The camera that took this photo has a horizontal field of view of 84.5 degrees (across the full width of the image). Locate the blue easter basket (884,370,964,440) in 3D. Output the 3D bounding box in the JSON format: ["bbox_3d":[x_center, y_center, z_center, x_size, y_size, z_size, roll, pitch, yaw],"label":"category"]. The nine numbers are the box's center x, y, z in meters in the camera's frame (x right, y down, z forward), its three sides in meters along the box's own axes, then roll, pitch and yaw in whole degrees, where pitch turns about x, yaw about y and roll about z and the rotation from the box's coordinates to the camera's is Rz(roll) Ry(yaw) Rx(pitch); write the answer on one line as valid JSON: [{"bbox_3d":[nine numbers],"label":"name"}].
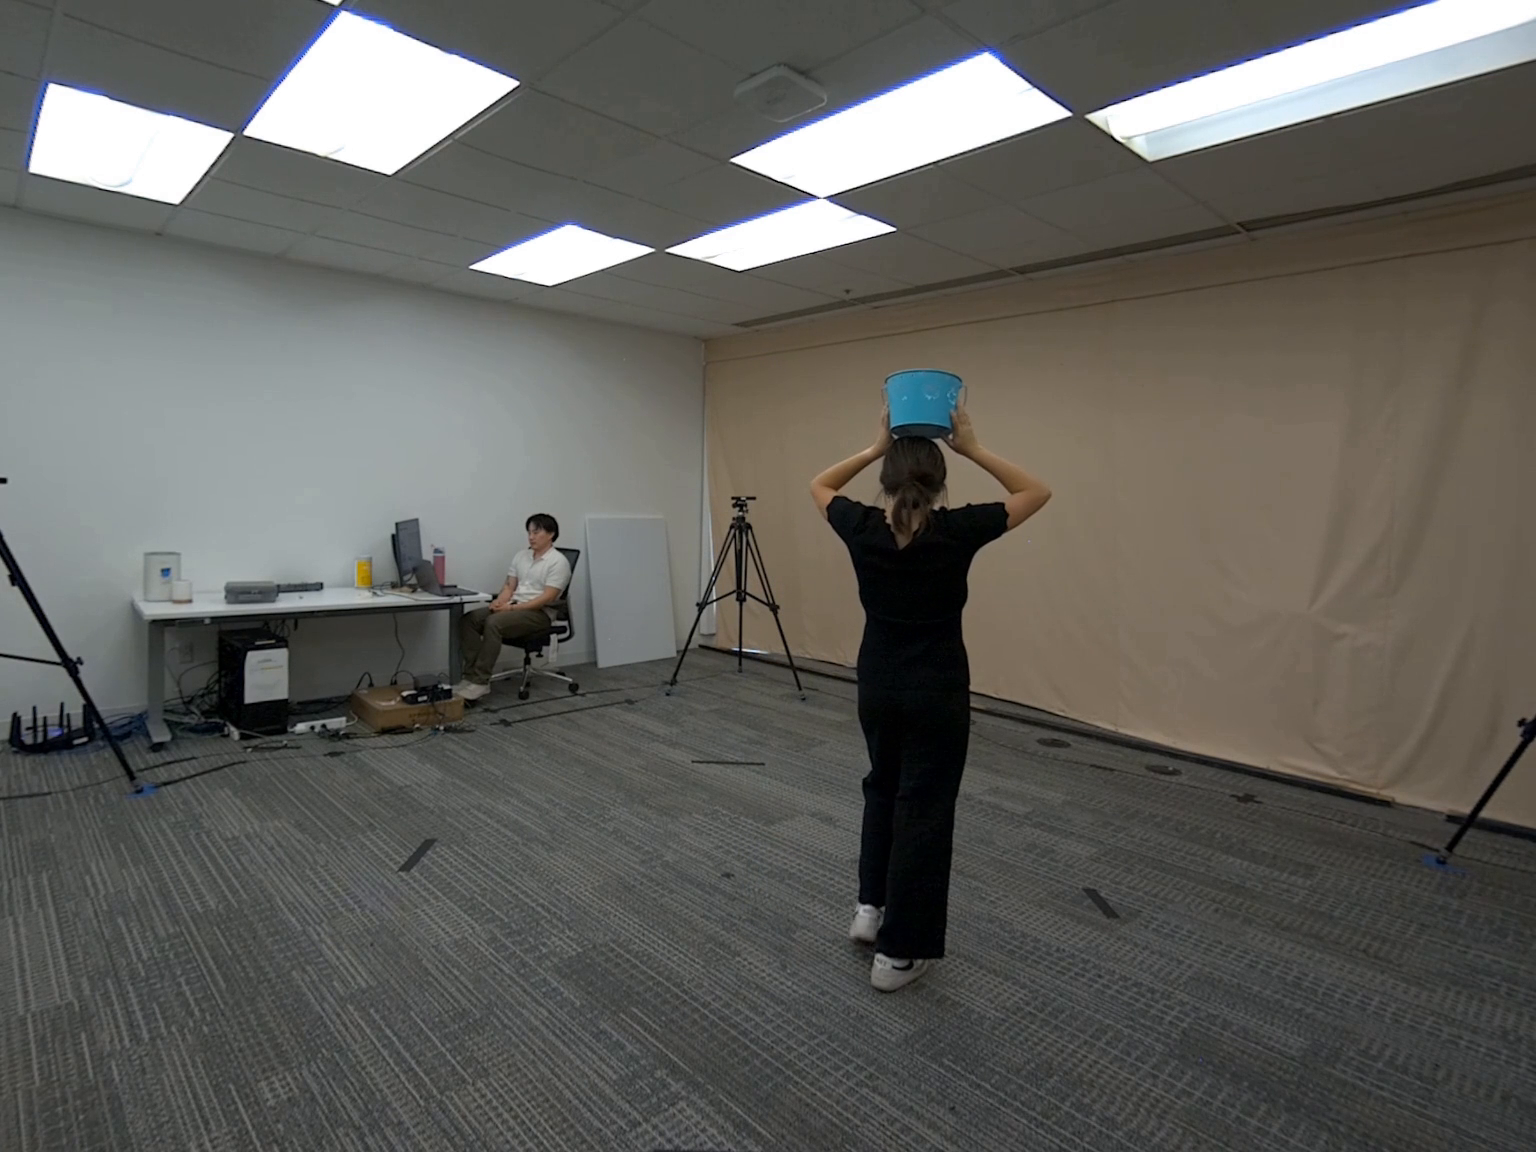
[{"bbox_3d":[0.467,-0.499,2.504,0.243,0.156,0.243,5,-5,-1],"label":"blue easter basket"}]
